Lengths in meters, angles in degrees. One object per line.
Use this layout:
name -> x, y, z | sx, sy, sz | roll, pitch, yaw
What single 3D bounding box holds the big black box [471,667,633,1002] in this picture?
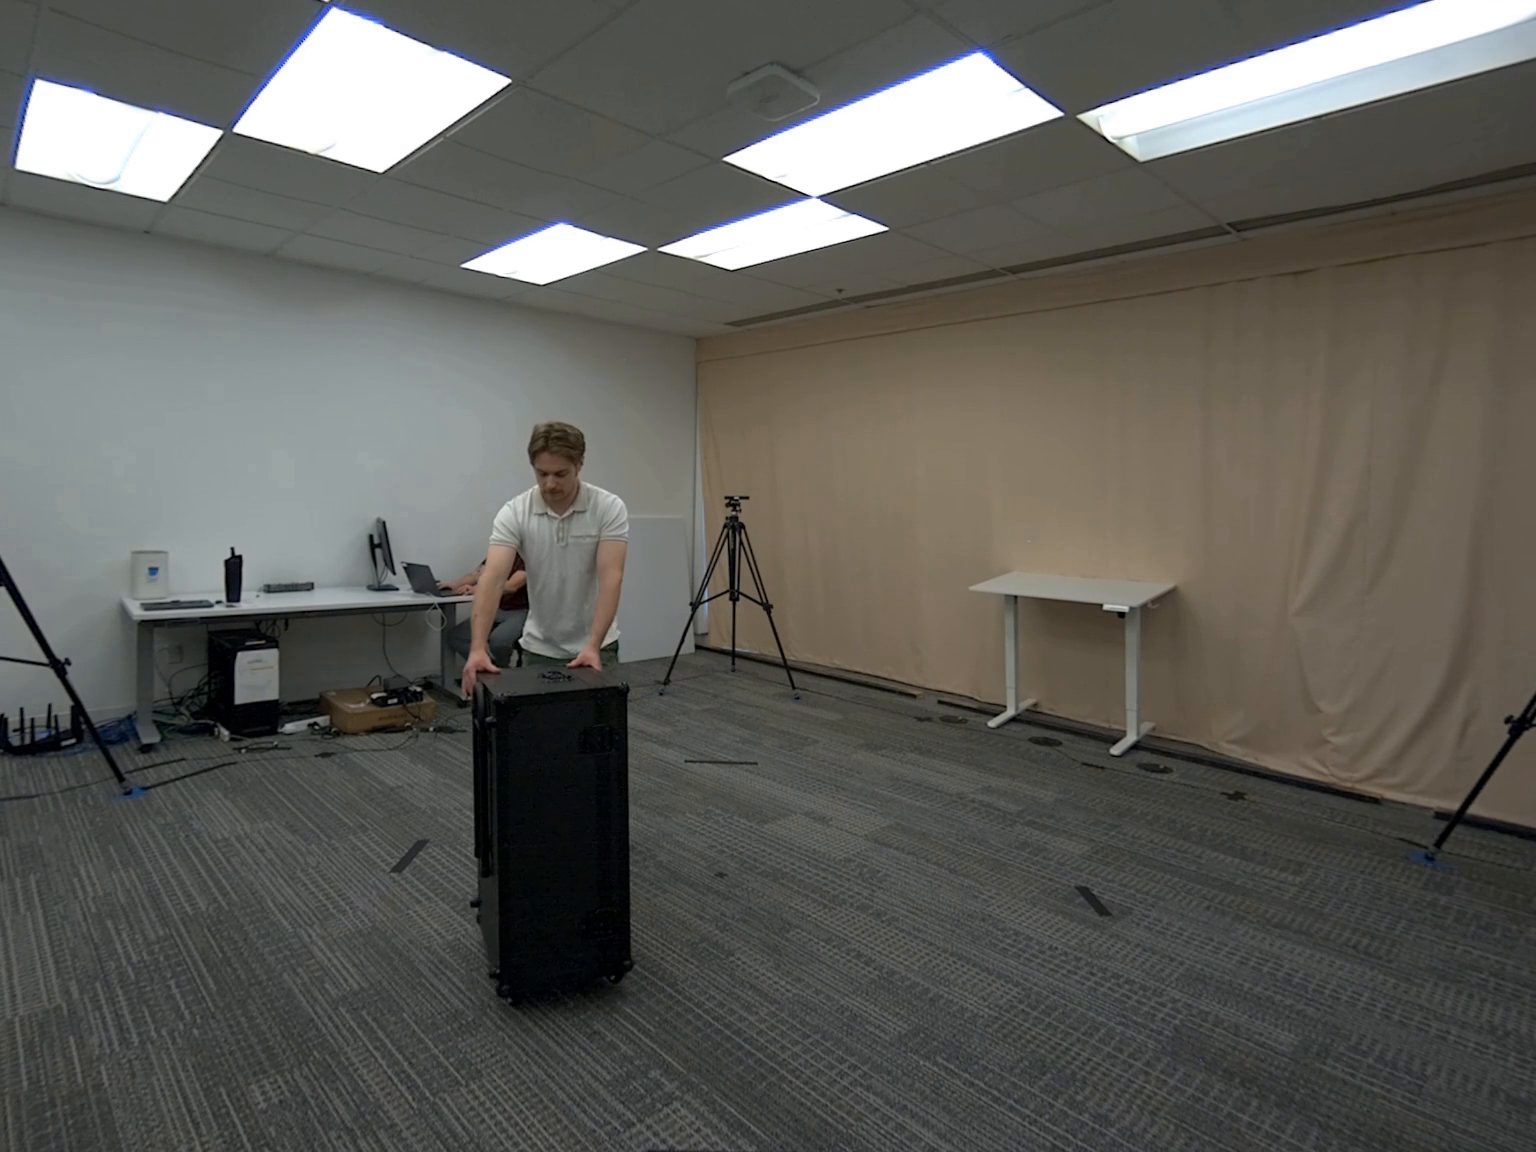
big black box -> -0.640, 0.729, 2.438 | 0.378, 0.868, 0.533 | -1, 1, -26
